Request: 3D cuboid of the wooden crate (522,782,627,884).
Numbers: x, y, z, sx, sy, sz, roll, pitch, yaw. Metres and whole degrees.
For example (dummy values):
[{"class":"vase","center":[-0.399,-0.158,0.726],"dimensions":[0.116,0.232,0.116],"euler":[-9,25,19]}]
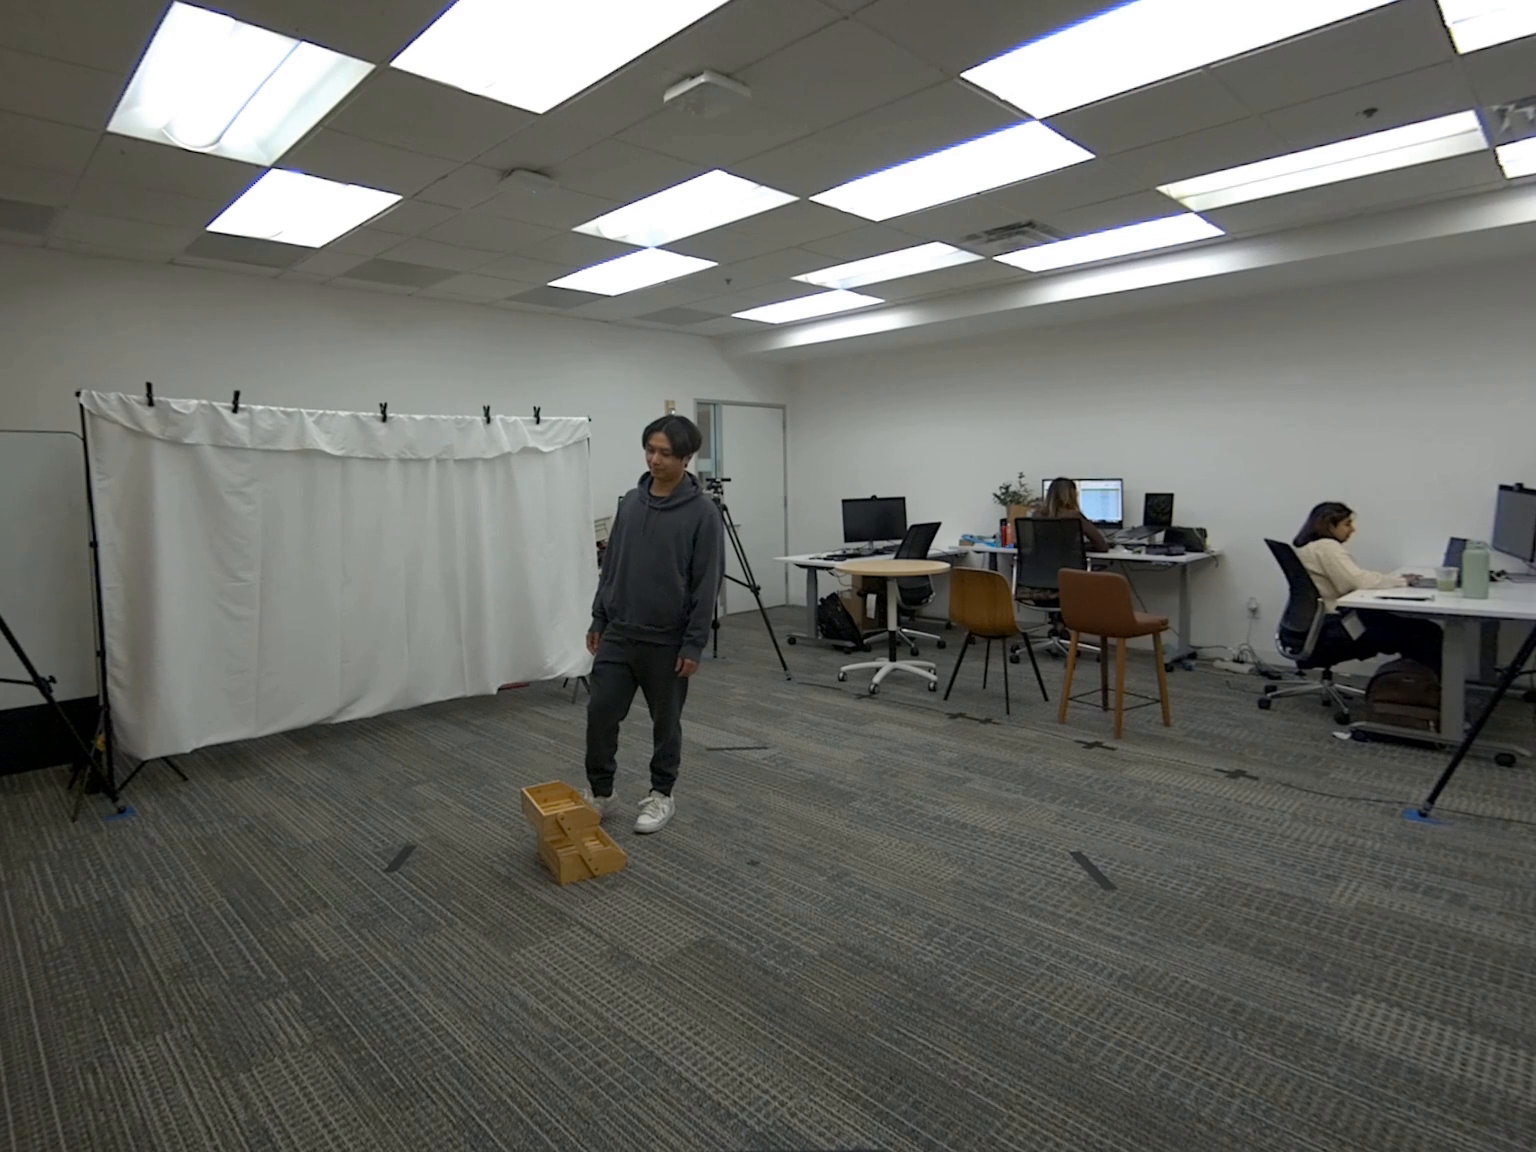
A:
[{"class":"wooden crate","center":[-0.712,0.915,3.134],"dimensions":[0.295,0.272,0.333],"euler":[-5,6,-29]}]
